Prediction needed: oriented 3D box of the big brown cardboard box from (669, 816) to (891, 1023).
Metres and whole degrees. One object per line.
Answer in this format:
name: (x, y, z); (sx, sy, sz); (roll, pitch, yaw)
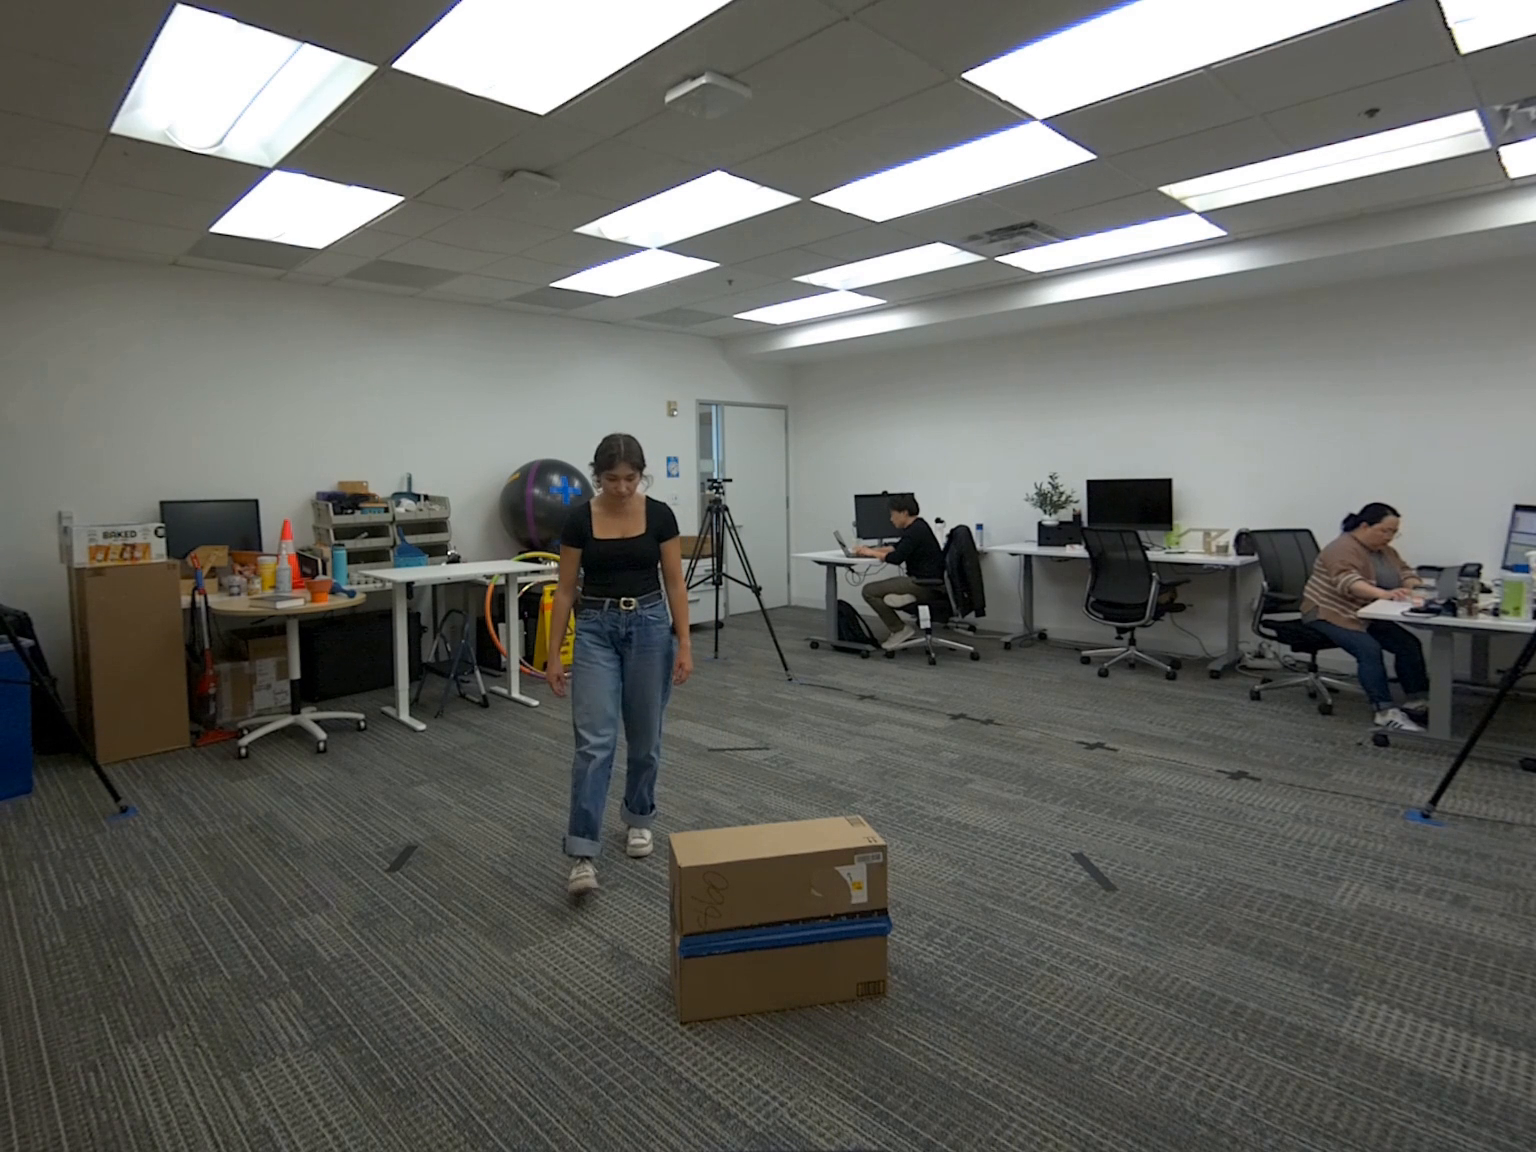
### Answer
big brown cardboard box: (0.032, 0.924, 2.340); (0.583, 0.416, 0.236); (-3, 4, -10)
